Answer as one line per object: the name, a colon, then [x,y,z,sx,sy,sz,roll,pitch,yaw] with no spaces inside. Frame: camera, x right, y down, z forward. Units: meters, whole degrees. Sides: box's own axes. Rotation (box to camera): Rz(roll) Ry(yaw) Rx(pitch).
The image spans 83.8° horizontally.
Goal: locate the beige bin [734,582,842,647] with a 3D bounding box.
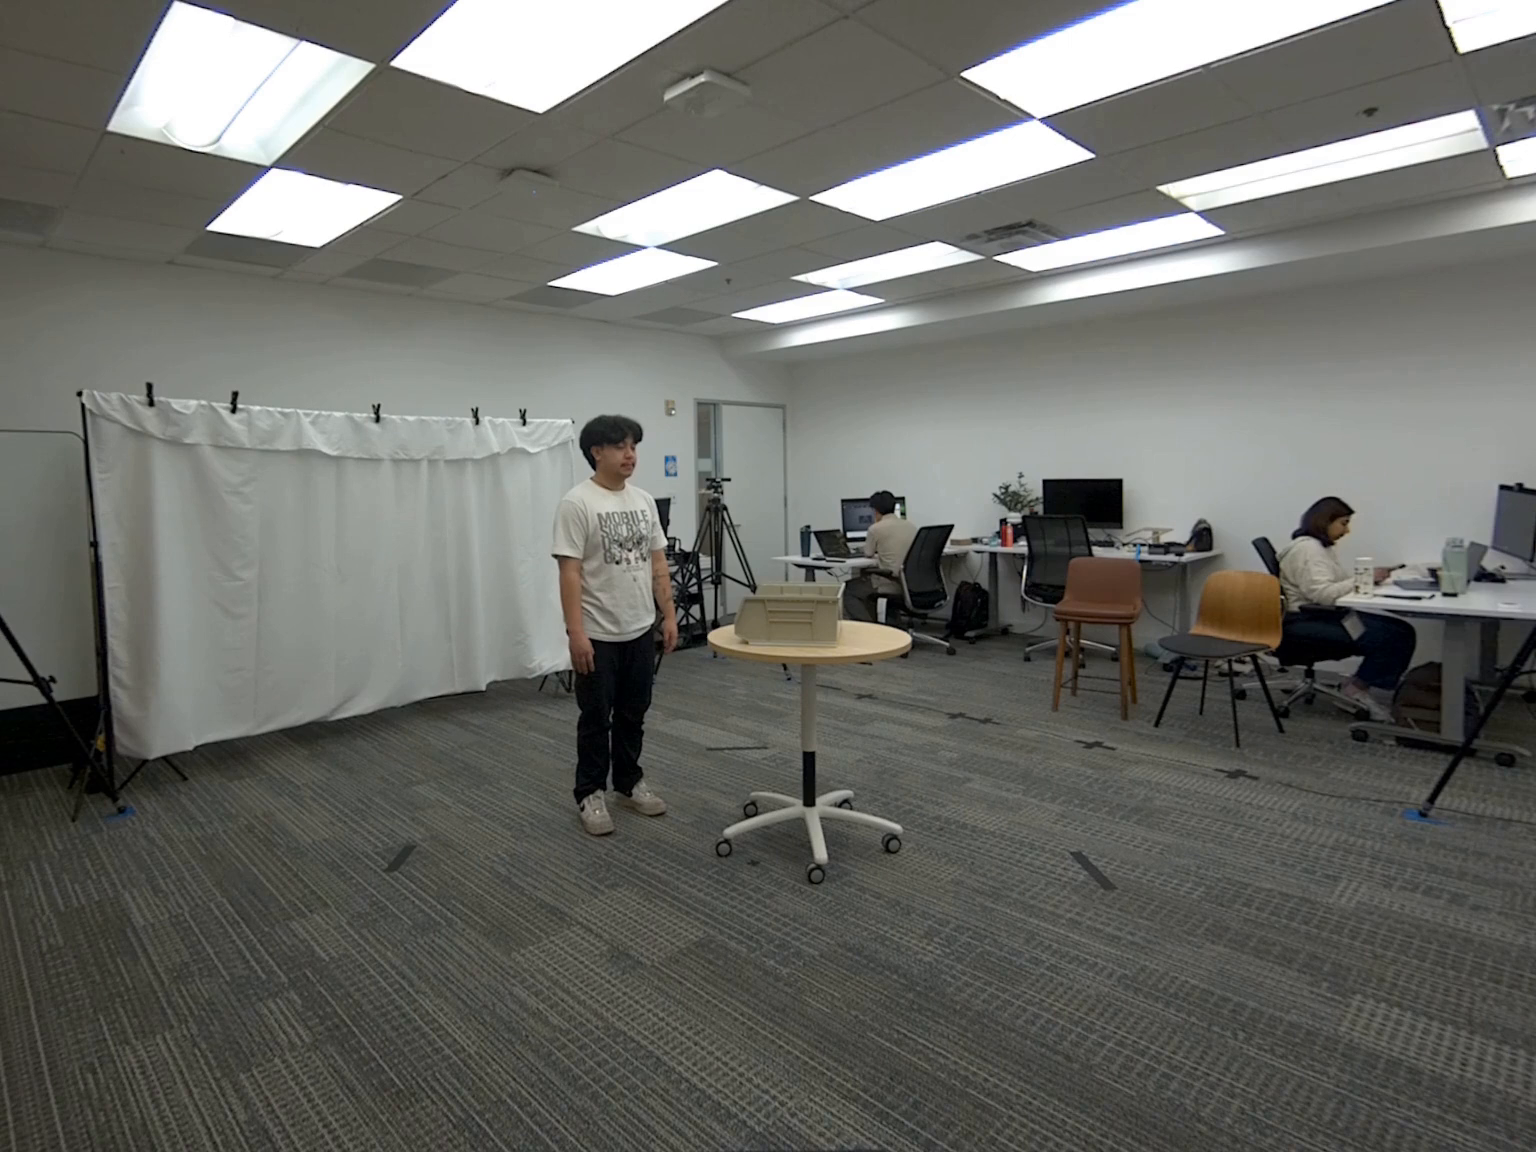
beige bin: [0.079,0.137,3.227,0.380,0.188,0.421,1,7,7]
